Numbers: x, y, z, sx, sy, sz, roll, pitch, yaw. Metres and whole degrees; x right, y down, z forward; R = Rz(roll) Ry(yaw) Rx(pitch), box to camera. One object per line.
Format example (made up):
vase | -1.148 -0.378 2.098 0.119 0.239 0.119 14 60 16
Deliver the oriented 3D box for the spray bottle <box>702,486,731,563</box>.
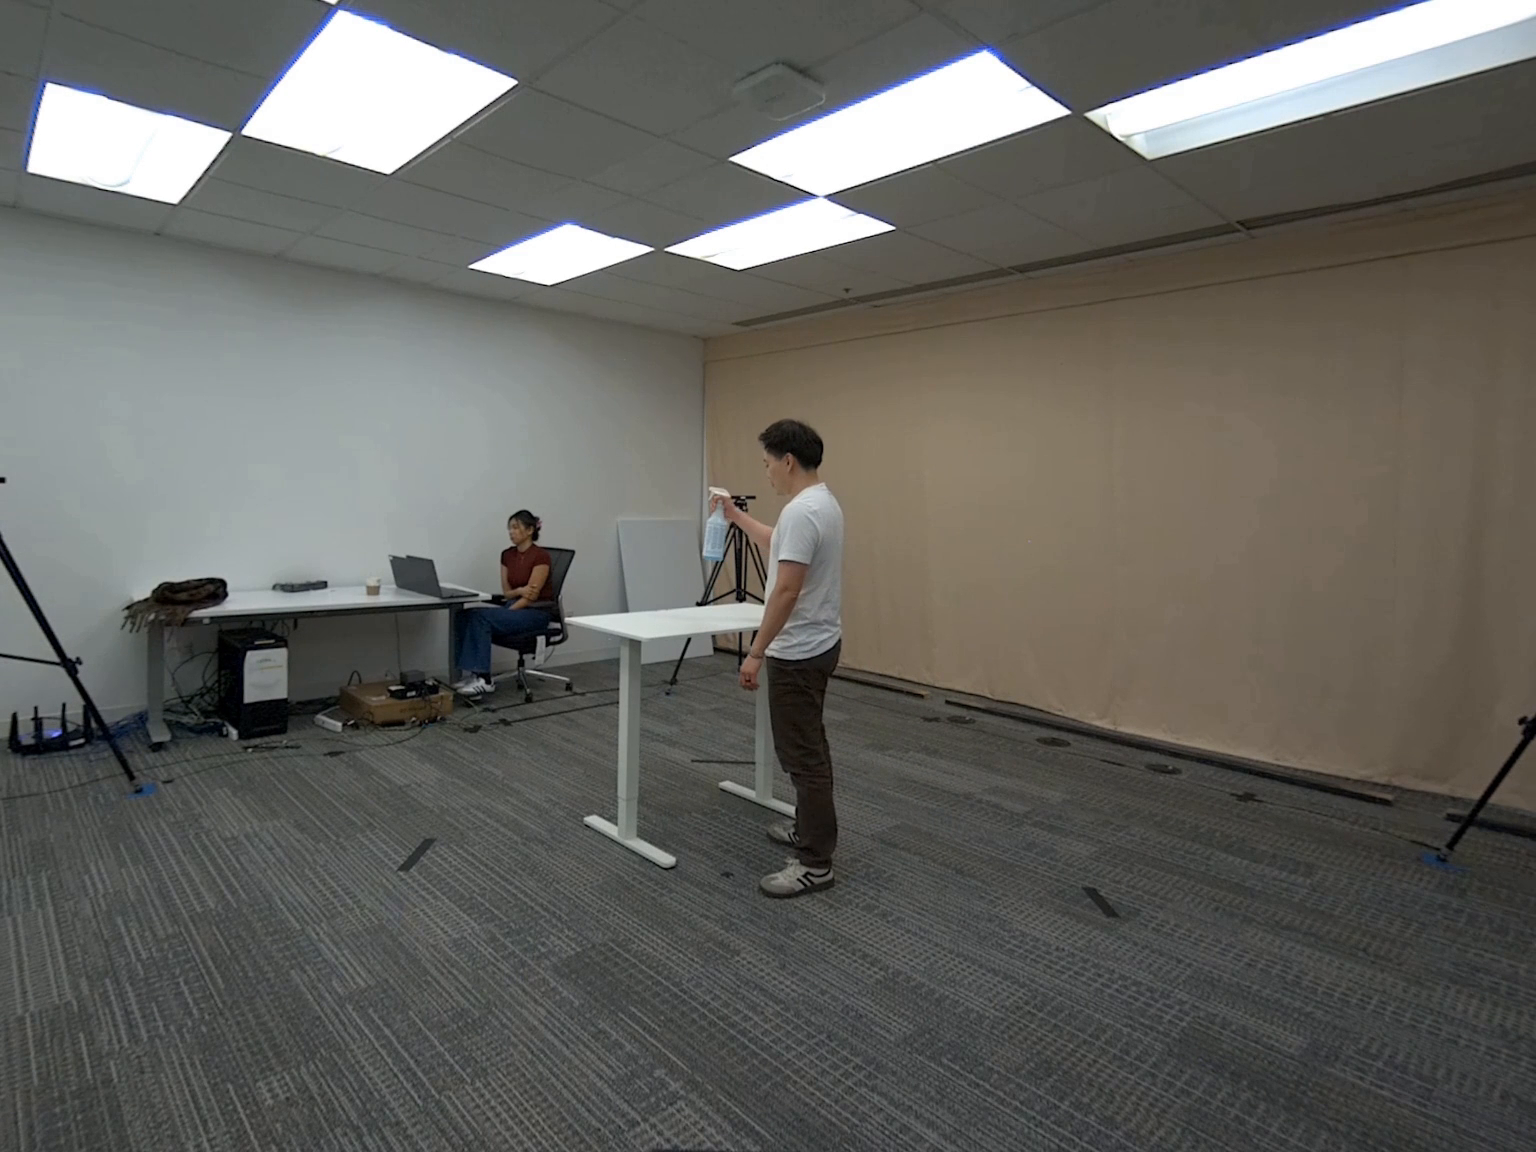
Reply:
spray bottle | -0.218 -0.212 3.480 0.091 0.297 0.086 7 1 18
